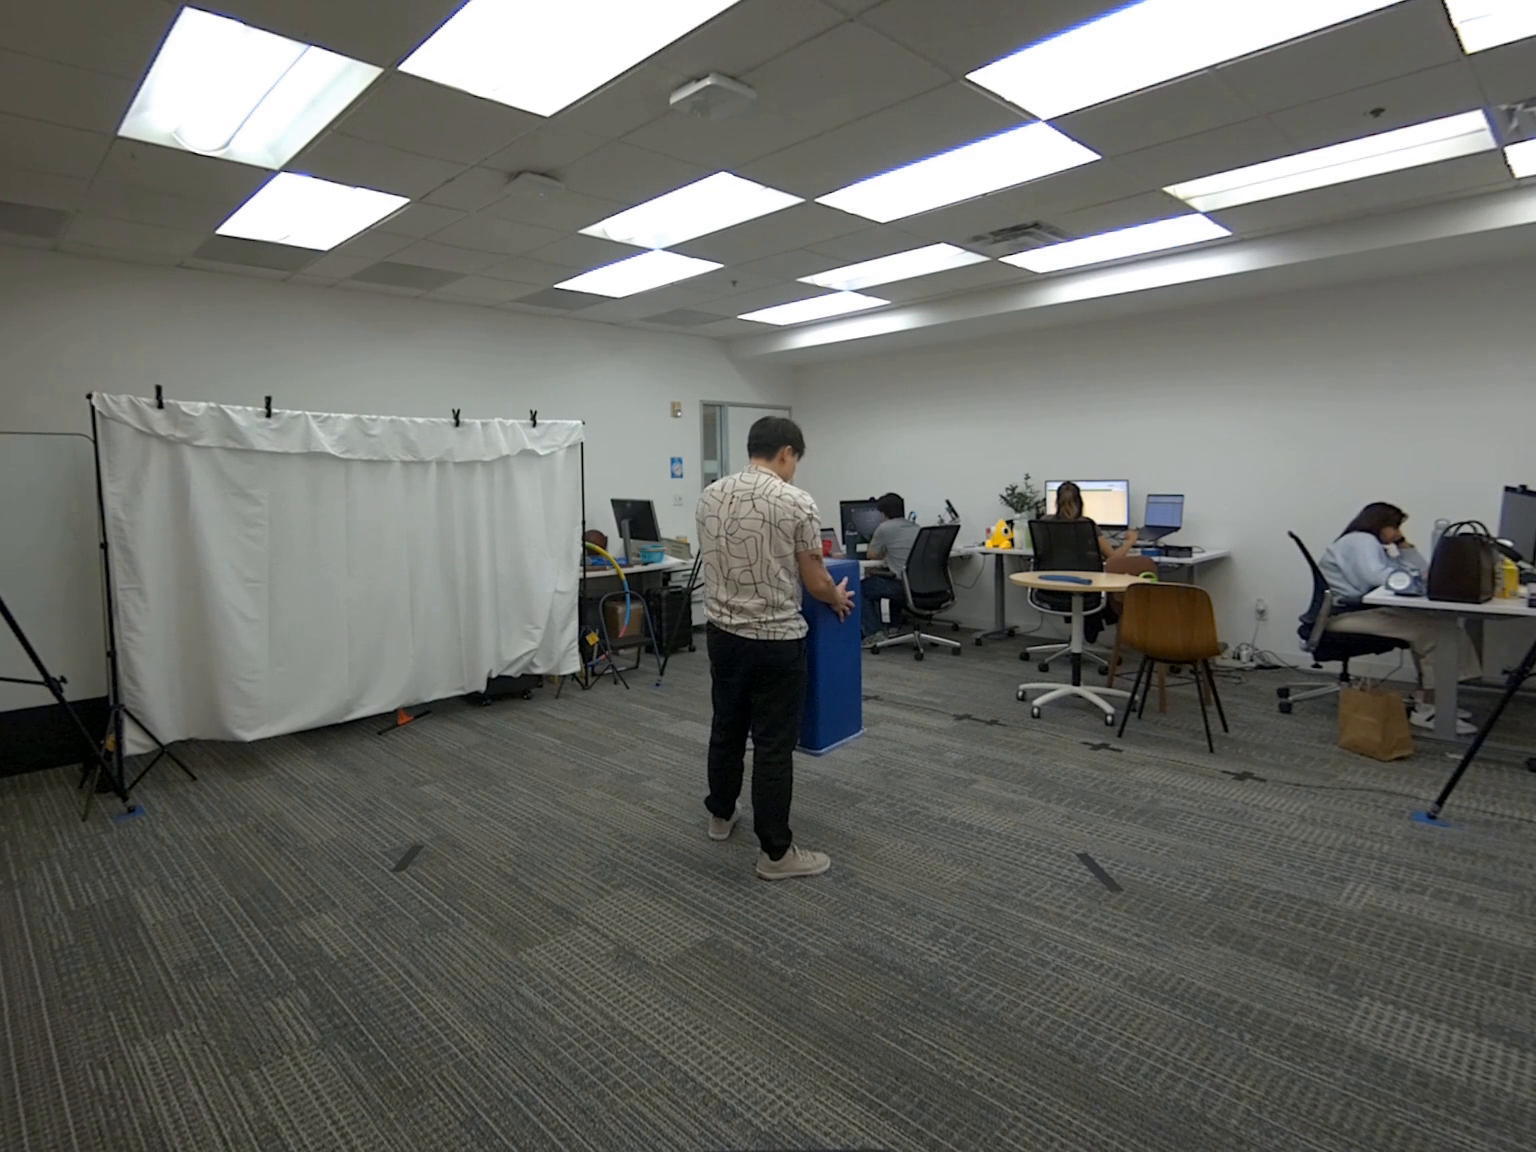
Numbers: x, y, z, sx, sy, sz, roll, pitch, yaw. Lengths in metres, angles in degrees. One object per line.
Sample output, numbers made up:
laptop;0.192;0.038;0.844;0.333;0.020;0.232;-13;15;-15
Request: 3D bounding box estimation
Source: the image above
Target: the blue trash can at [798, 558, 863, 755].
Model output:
blue trash can;0.155;0.291;3.428;0.386;0.710;0.368;6;7;39
